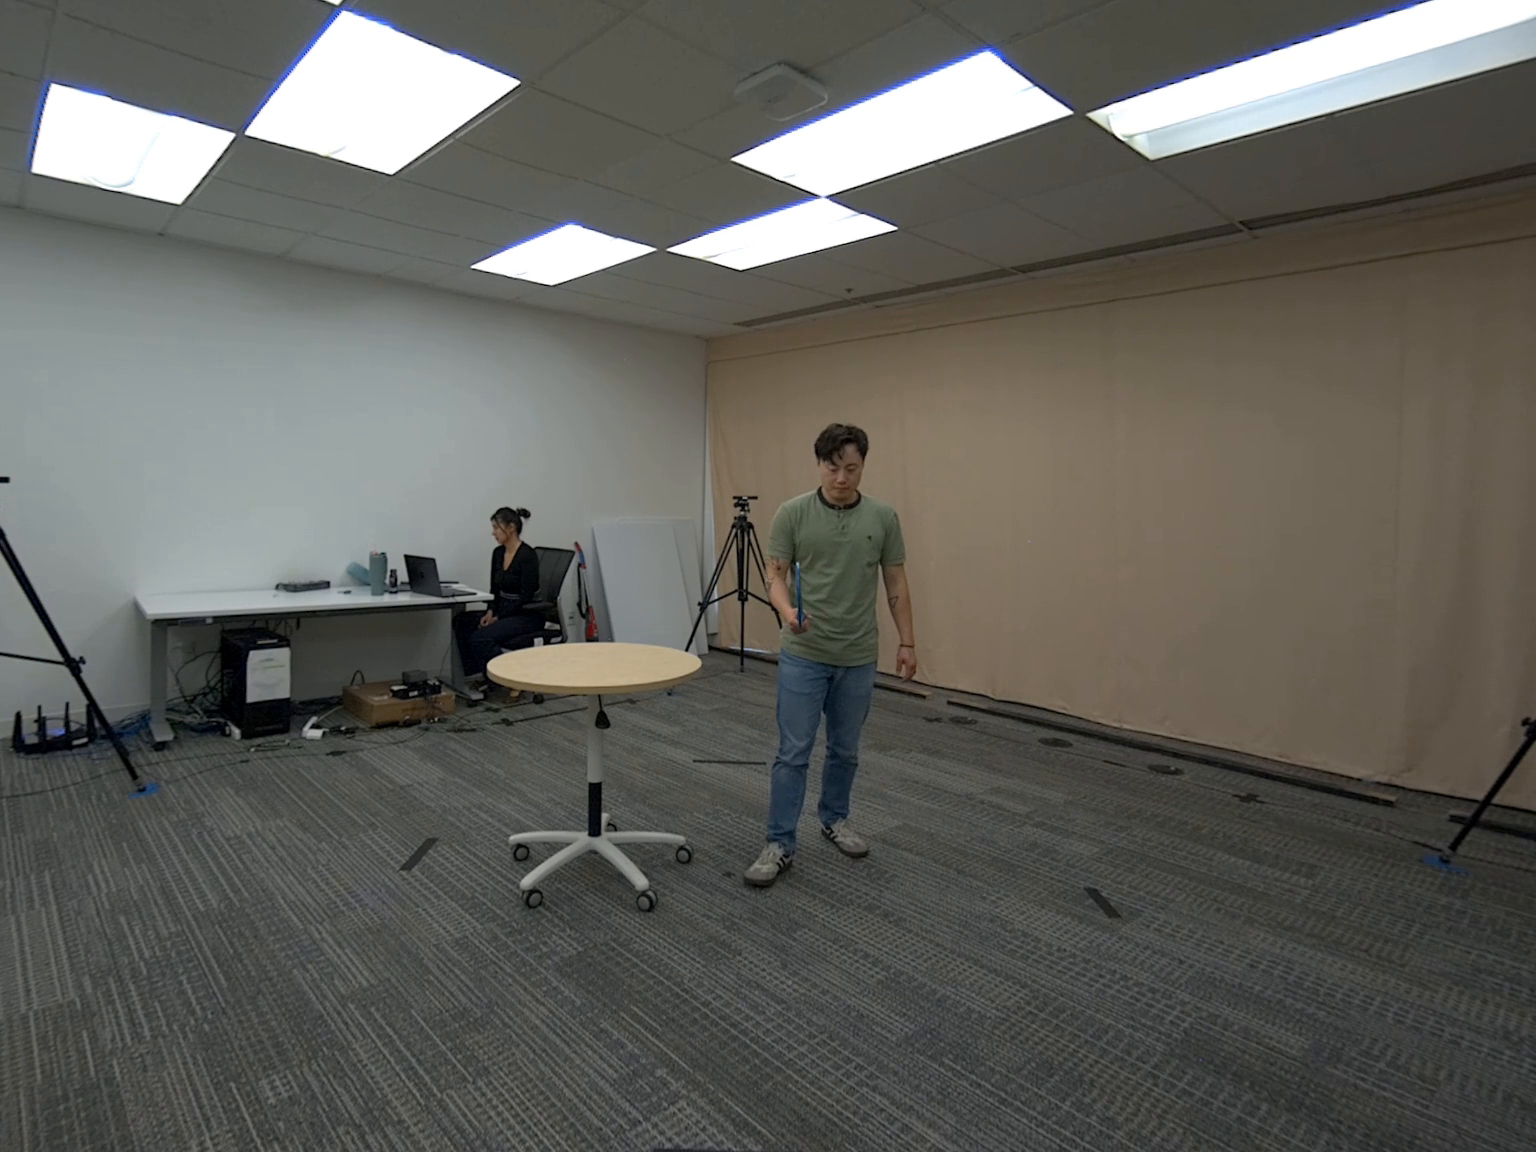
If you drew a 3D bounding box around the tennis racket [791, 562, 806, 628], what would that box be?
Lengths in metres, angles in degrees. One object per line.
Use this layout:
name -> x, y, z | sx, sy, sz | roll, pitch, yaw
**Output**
tennis racket -> 0.097, 0.092, 2.841 | 0.032, 0.217, 0.424 | -7, -23, 1
